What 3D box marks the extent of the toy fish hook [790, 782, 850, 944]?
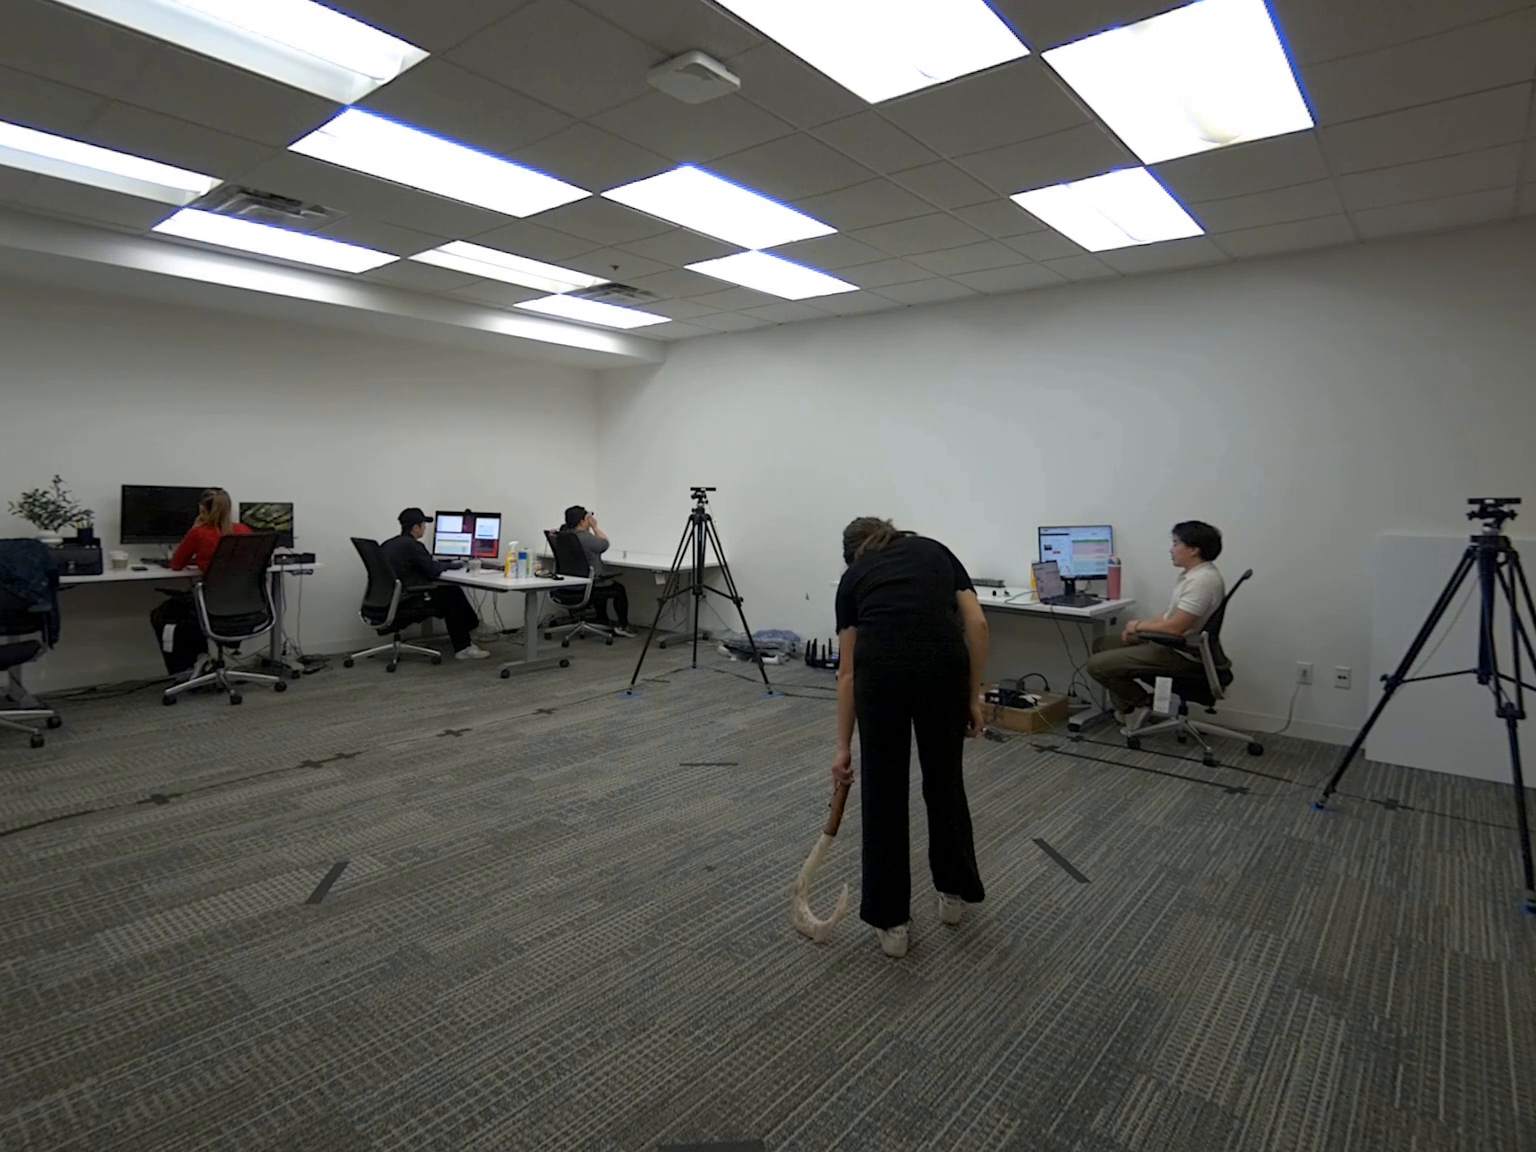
[{"bbox_3d":[0.201,0.885,2.689,0.046,0.509,0.232,27,-11,-38],"label":"toy fish hook"}]
